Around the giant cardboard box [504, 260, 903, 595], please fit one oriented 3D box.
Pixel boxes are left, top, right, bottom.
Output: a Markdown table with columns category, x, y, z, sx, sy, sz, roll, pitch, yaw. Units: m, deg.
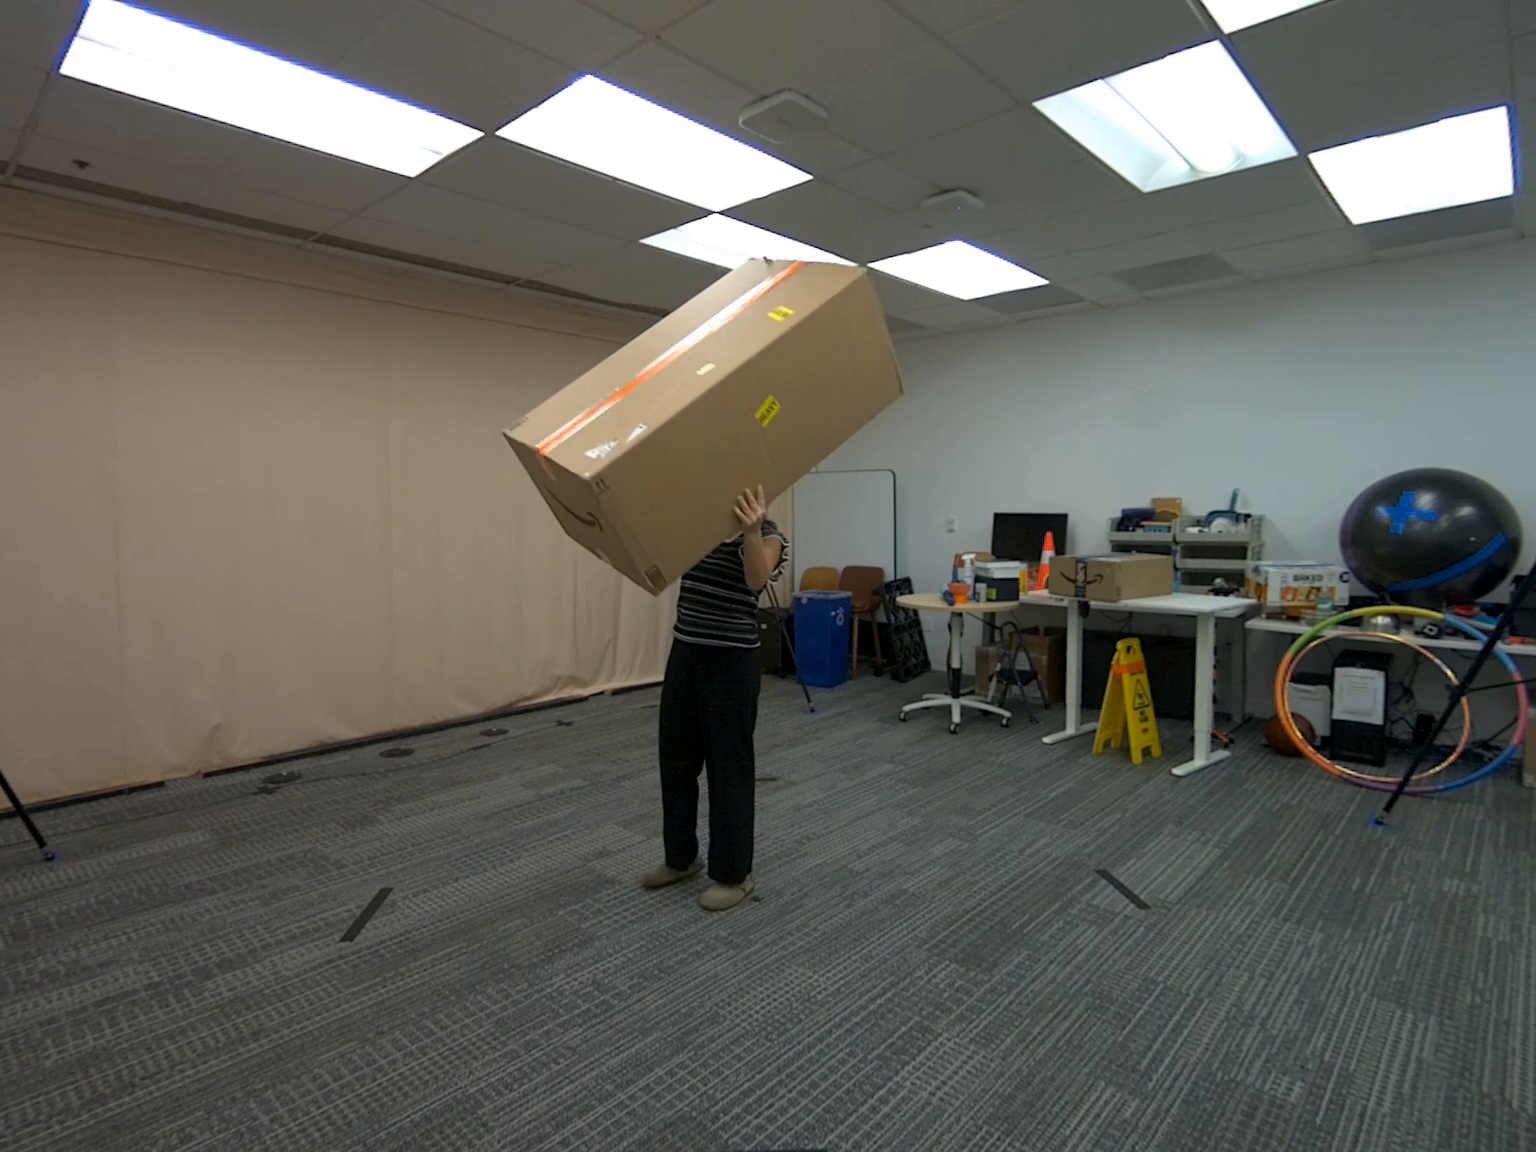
| category | x | y | z | sx | sy | sz | roll | pitch | yaw |
| --- | --- | --- | --- | --- | --- | --- | --- | --- | --- |
| giant cardboard box | -0.197 | -0.498 | 2.575 | 1.018 | 0.413 | 0.599 | -40 | 39 | -17 |
